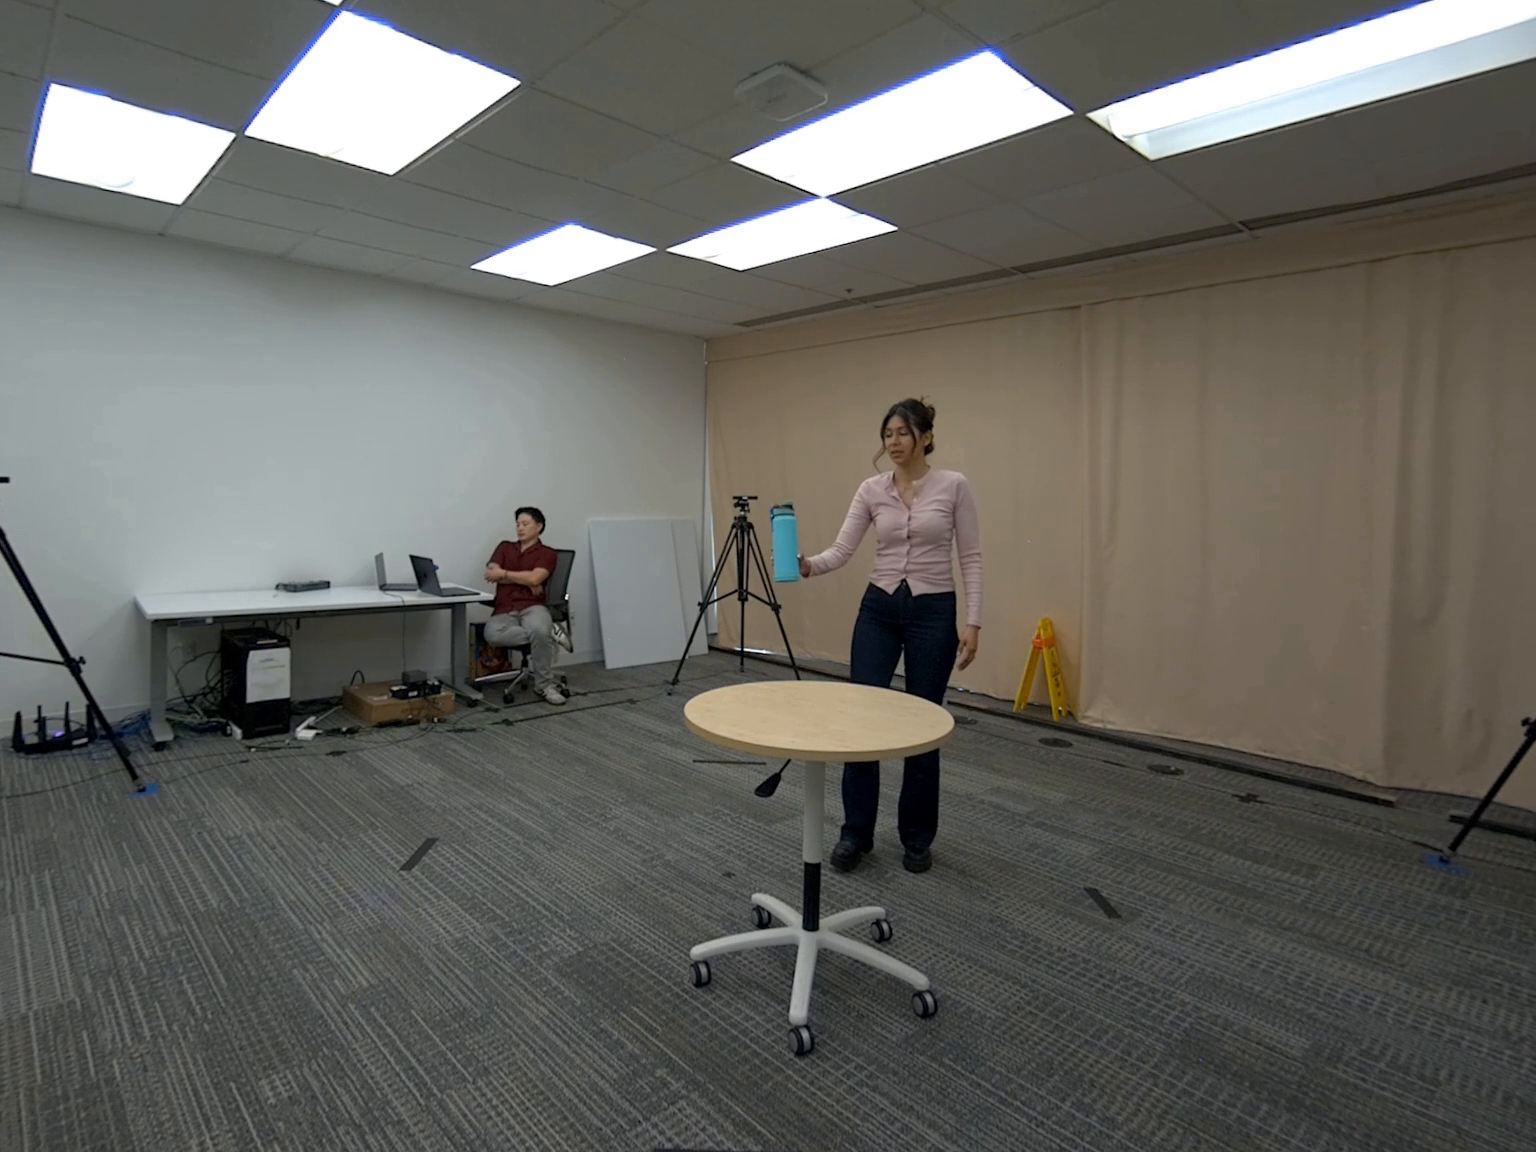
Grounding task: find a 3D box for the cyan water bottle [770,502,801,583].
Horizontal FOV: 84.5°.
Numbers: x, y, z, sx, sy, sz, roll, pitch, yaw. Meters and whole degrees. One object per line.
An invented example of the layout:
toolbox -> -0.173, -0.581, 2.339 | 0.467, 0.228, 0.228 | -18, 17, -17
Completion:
cyan water bottle -> 0.052, -0.121, 2.959 | 0.092, 0.284, 0.092 | -2, -4, -1
